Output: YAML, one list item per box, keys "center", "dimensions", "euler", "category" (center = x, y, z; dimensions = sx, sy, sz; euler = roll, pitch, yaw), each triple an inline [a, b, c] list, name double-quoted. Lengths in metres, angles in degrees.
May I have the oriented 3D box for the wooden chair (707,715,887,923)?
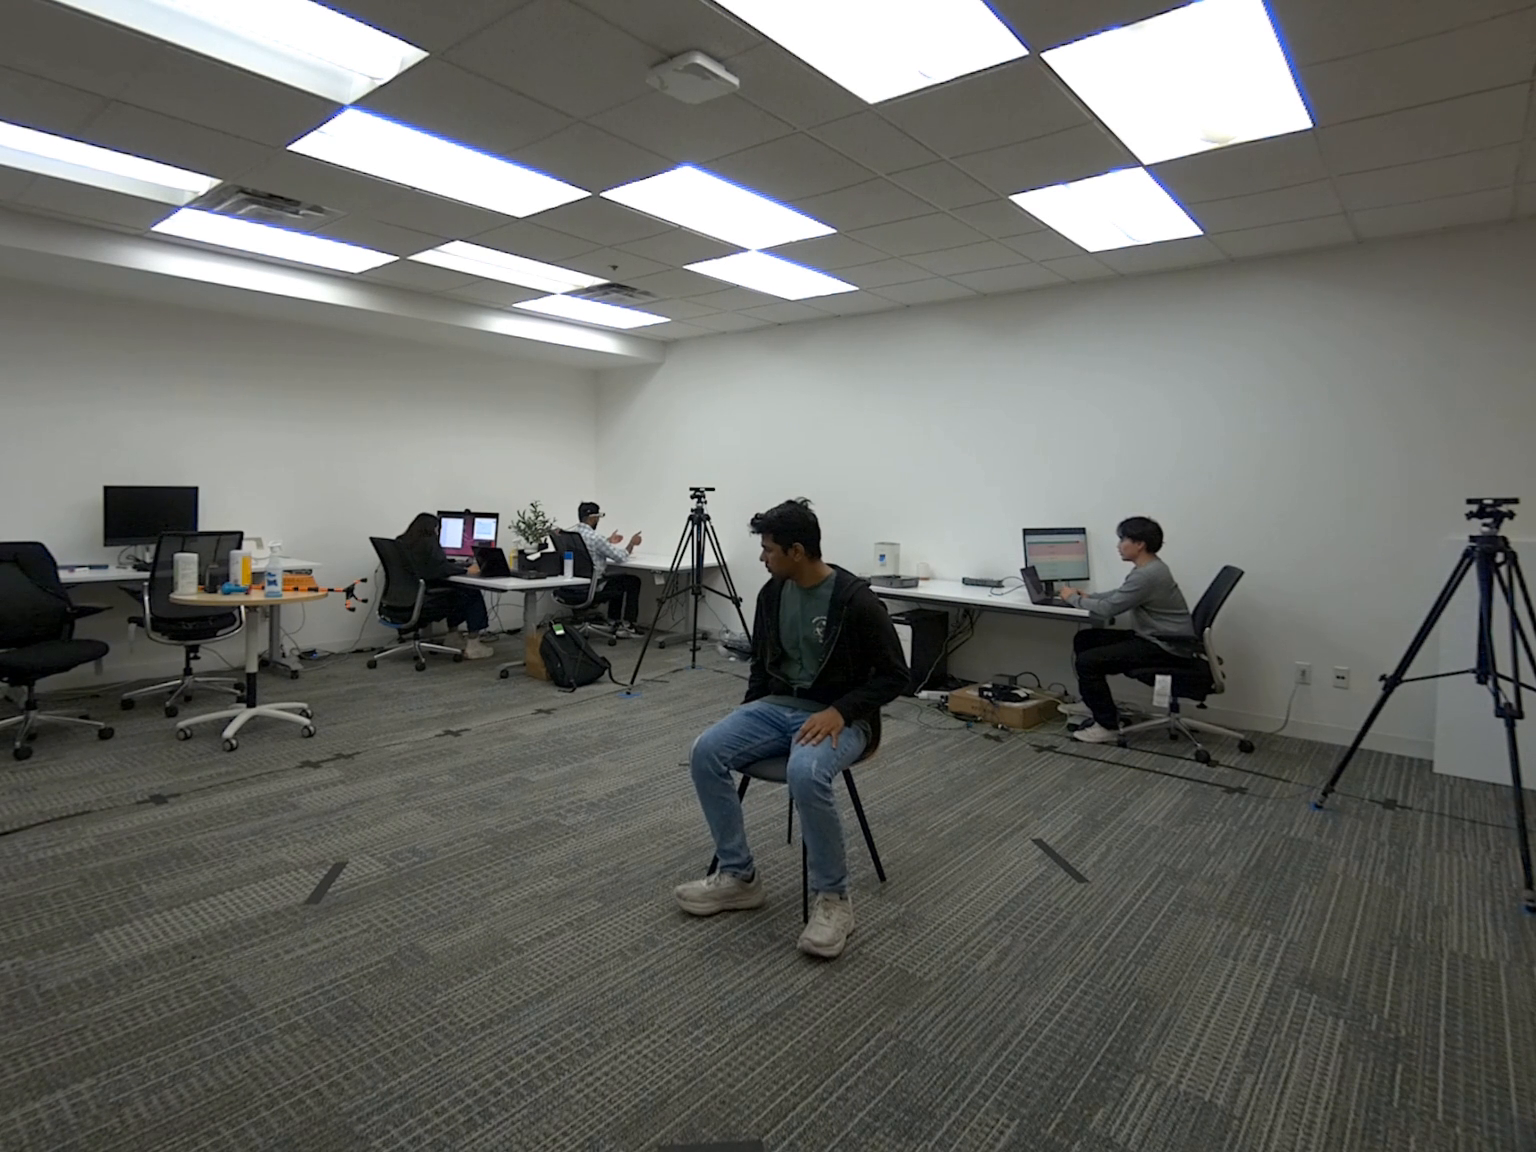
- center: [0.096, 0.655, 3.013]
  dimensions: [0.494, 0.877, 0.506]
  euler: [5, 1, 43]
  category: "wooden chair"
